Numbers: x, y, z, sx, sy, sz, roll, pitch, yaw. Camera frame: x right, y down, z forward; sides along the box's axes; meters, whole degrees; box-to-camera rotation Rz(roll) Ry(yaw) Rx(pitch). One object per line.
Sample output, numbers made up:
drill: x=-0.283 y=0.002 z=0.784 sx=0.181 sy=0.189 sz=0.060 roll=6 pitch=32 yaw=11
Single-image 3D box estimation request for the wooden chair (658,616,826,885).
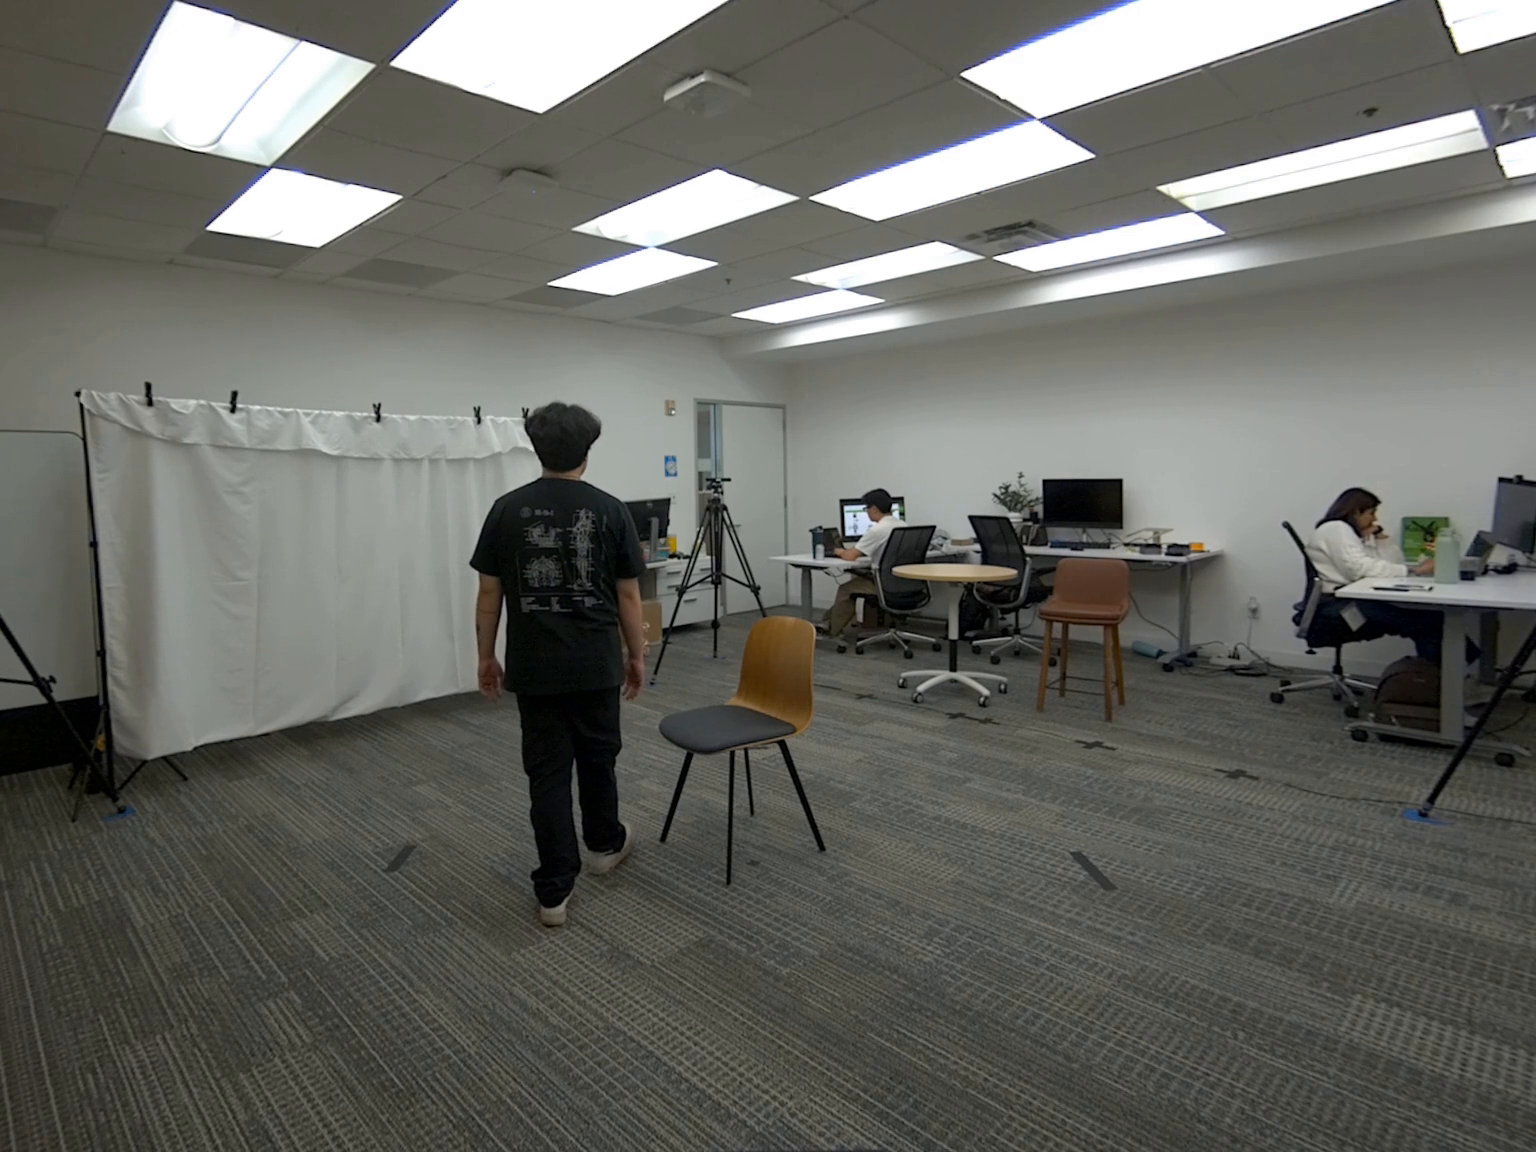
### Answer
wooden chair: x=-0.109 y=0.605 z=3.208 sx=0.508 sy=0.876 sz=0.492 roll=1 pitch=2 yaw=-37
